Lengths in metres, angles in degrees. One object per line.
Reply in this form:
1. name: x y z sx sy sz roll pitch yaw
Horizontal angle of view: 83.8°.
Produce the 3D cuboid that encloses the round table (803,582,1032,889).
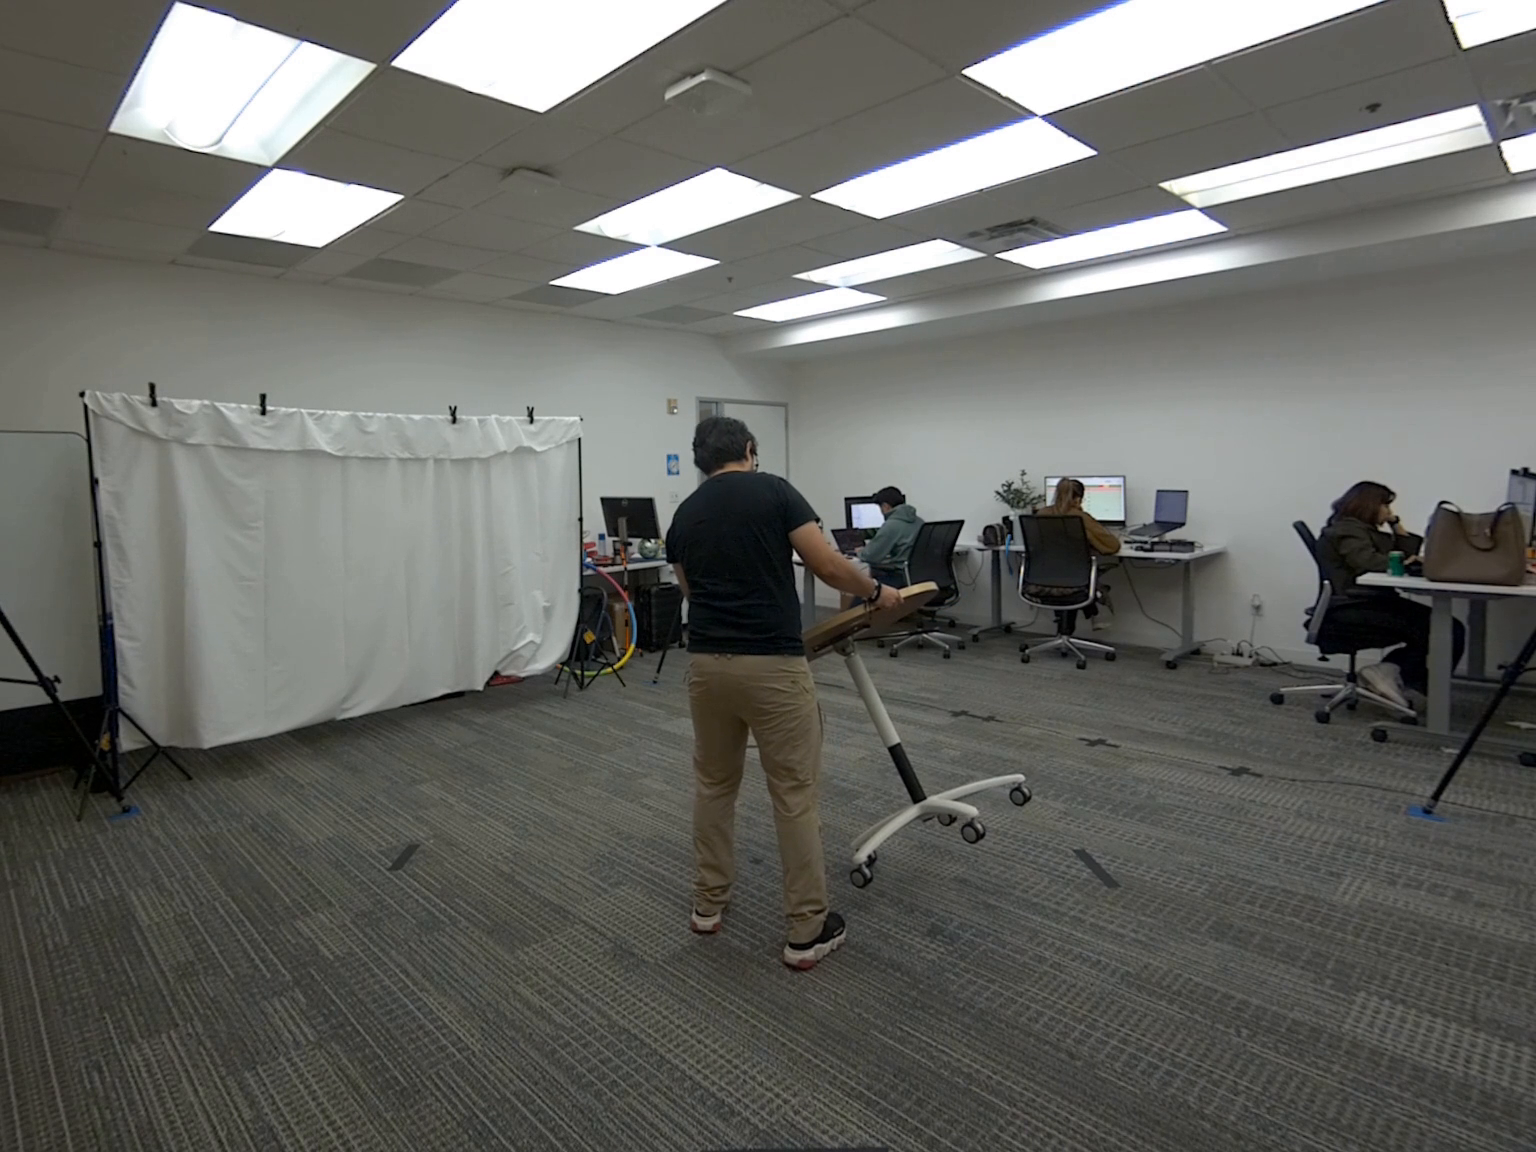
1. round table: 0.434 0.540 2.973 0.782 0.801 0.775 -23 -13 -7
